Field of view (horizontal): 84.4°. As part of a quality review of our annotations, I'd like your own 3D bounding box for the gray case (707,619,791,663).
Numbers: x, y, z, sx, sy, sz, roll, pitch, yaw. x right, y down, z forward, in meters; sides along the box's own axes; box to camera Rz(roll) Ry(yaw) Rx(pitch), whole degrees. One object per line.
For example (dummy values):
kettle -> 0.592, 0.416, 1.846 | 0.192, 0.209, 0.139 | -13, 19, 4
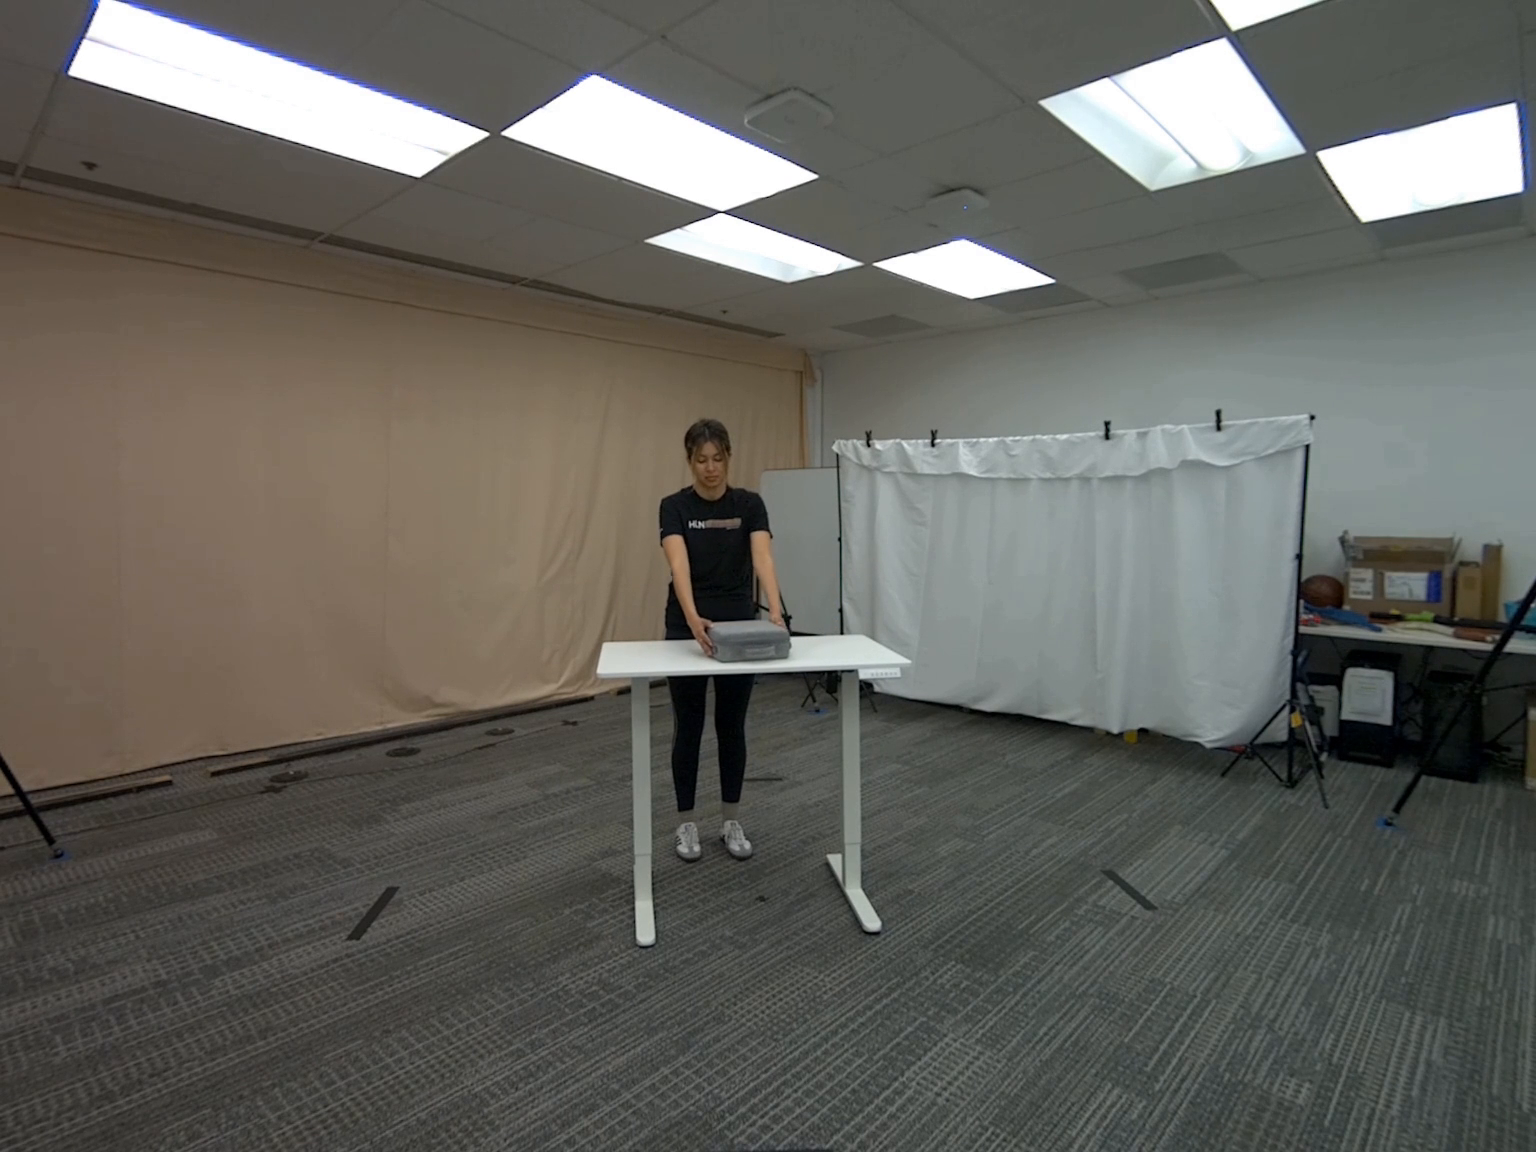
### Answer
gray case -> -0.073, 0.222, 2.863 | 0.253, 0.104, 0.266 | -1, 5, -17
